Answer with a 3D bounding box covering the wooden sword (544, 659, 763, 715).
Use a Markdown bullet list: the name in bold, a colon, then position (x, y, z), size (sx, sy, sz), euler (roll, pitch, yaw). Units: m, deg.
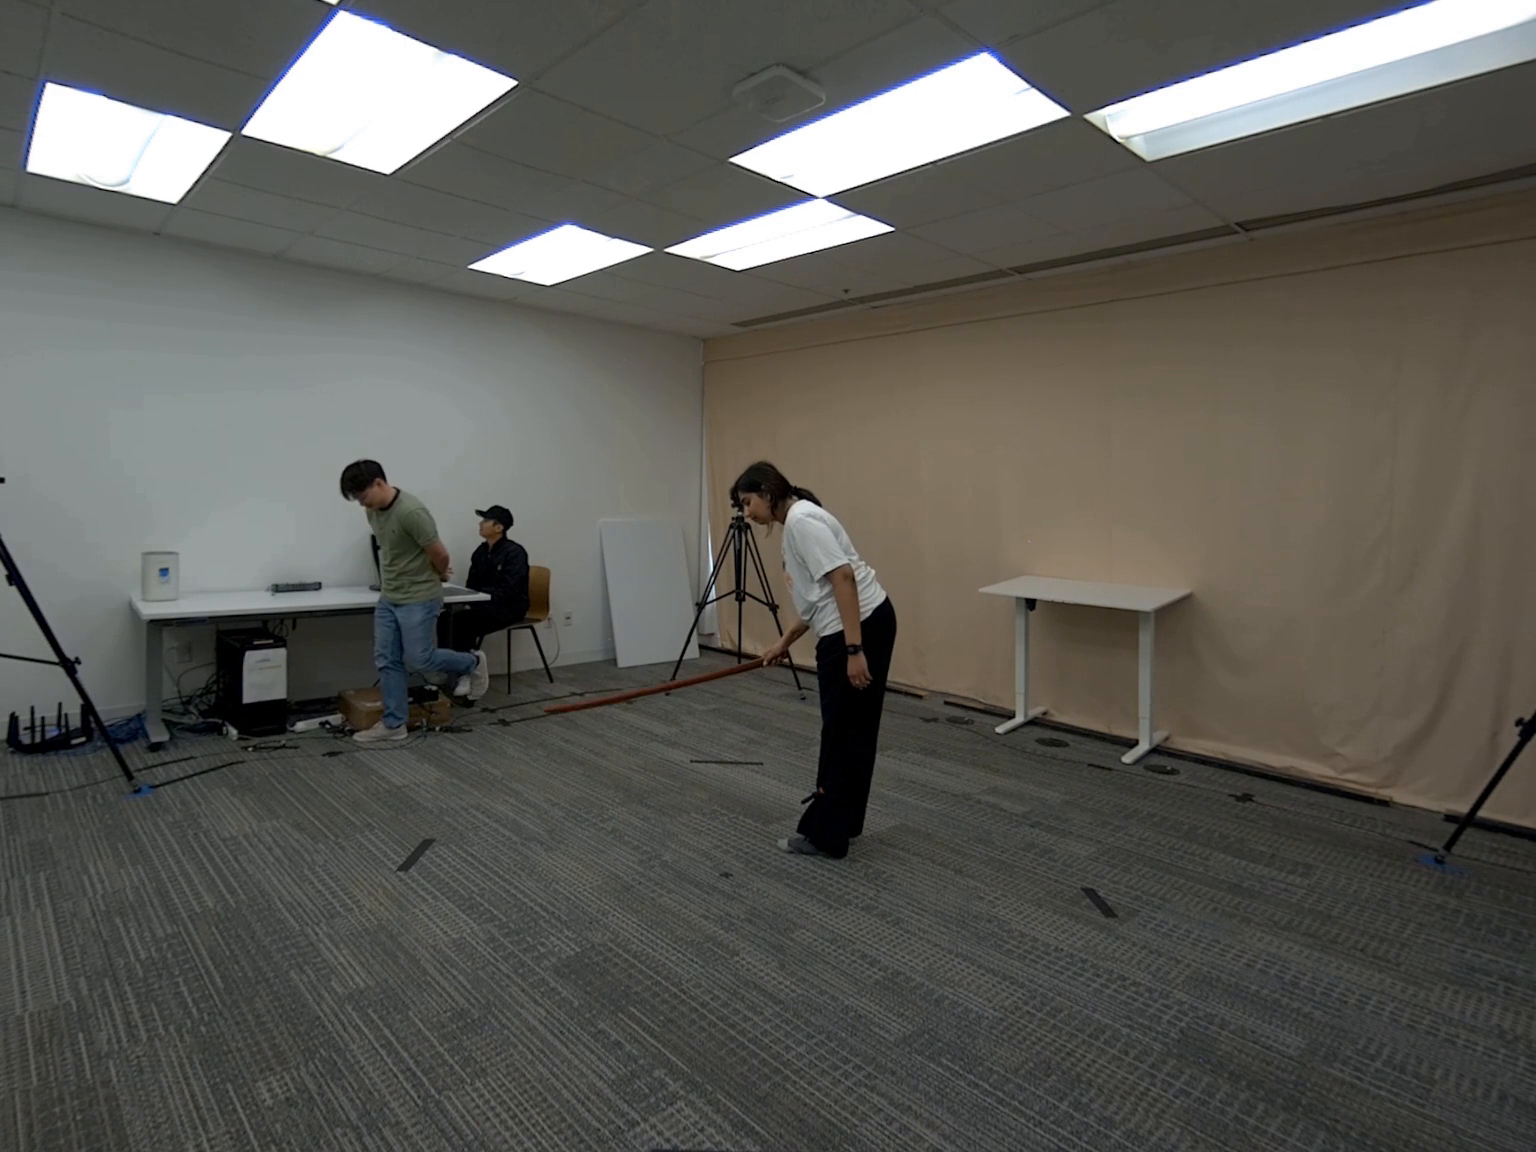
- **wooden sword**: position (-0.406, 0.458, 3.386), size (1.016, 0.050, 0.025), euler (-10, 25, -12)
